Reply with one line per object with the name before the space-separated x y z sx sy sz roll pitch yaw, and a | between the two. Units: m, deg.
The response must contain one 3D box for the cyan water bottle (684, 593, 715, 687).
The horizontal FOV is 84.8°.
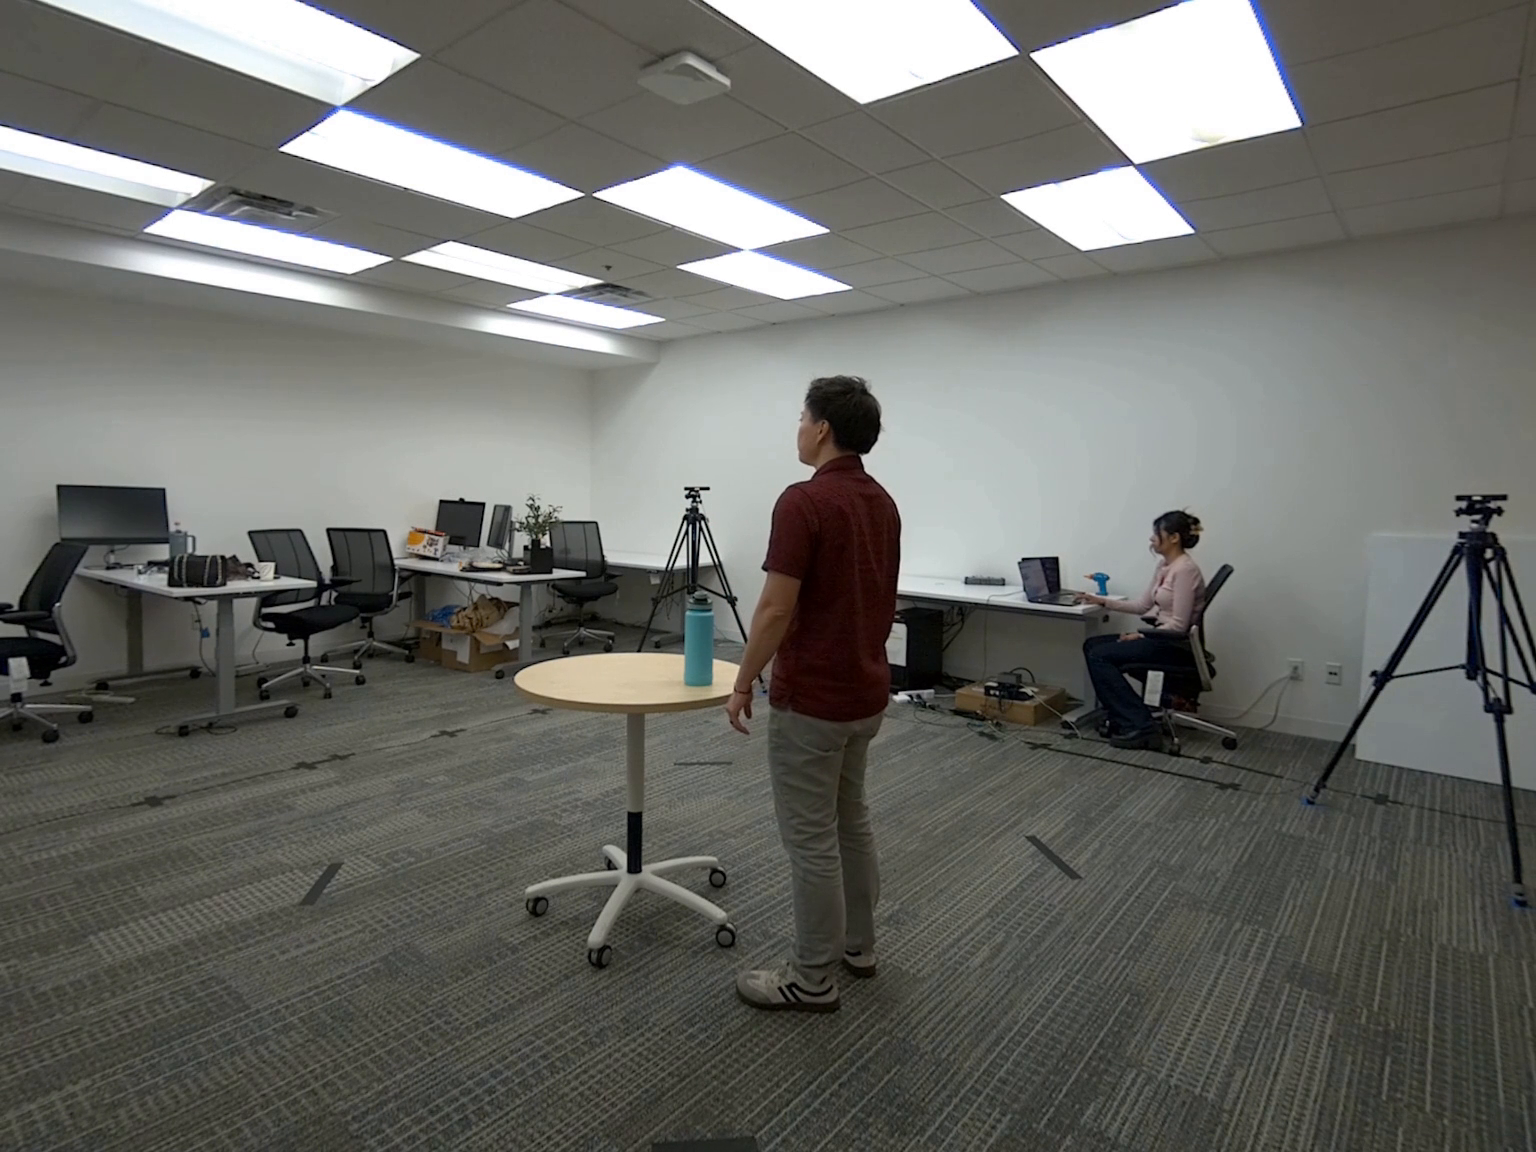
cyan water bottle | -0.222 0.191 2.620 0.092 0.283 0.093 0 3 -2
